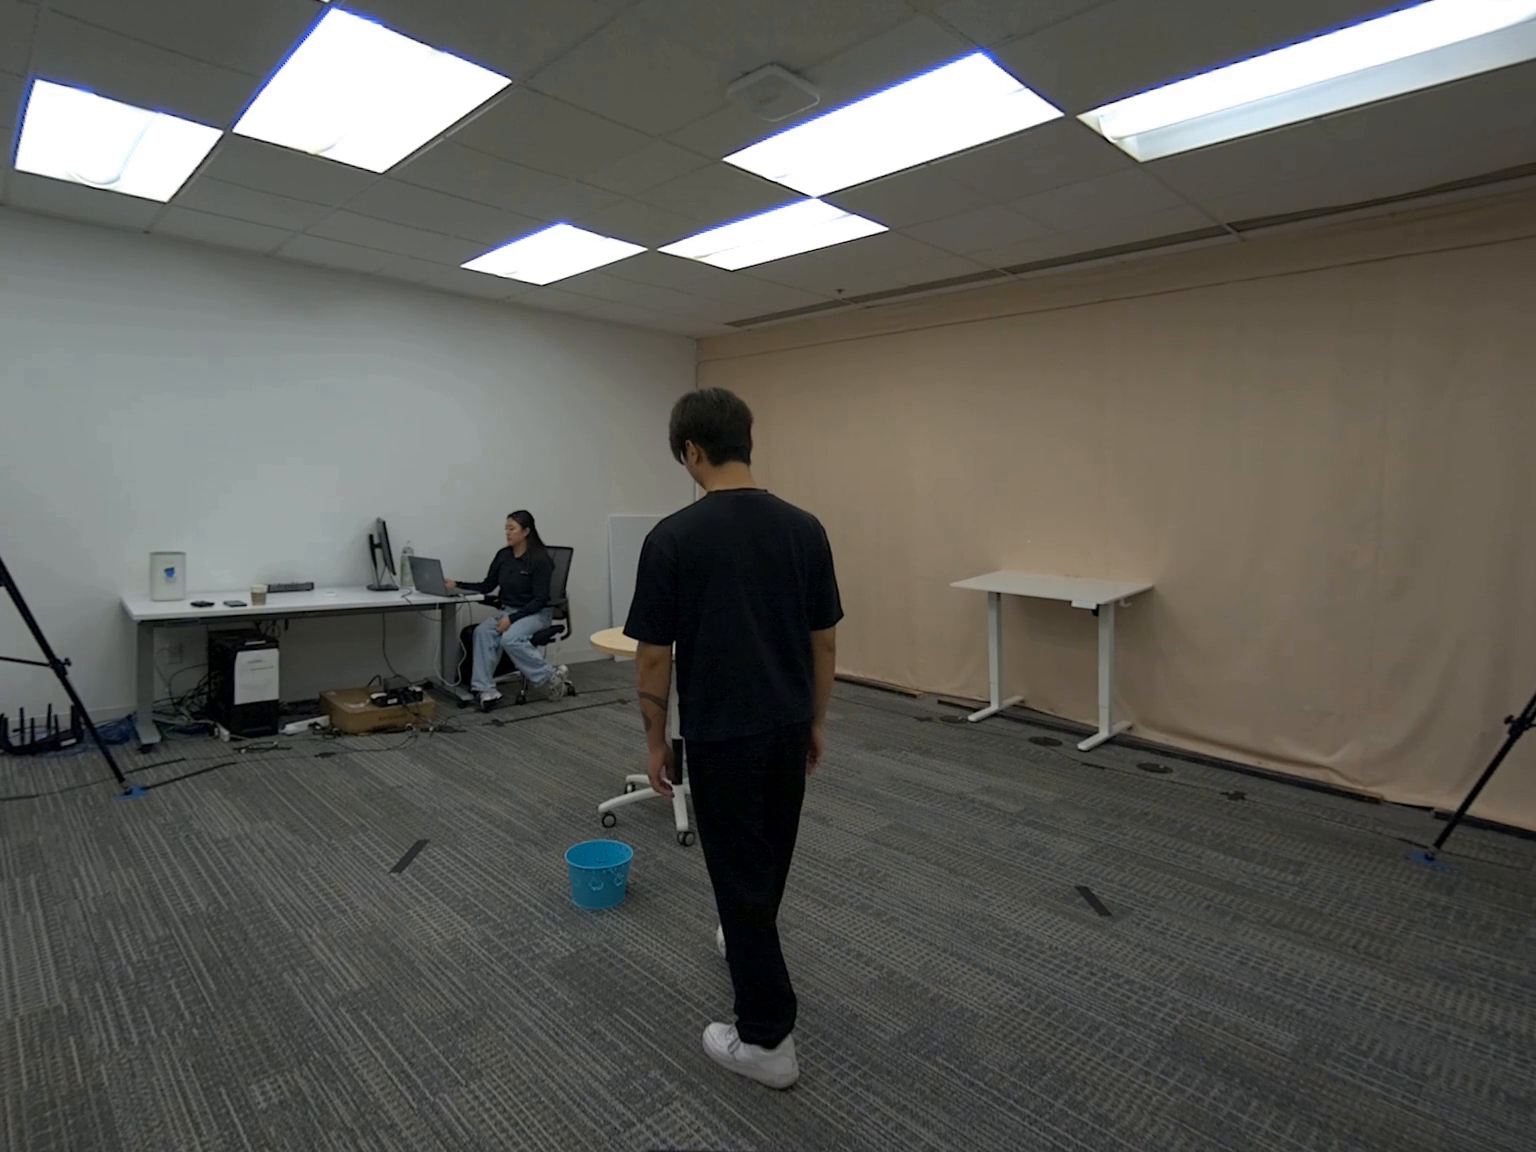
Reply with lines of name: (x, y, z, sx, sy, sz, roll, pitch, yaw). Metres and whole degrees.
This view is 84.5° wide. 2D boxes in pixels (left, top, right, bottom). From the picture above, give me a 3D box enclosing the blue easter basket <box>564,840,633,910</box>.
blue easter basket: (-0.587, 1.034, 2.909, 0.243, 0.155, 0.244, 2, 5, -2)
